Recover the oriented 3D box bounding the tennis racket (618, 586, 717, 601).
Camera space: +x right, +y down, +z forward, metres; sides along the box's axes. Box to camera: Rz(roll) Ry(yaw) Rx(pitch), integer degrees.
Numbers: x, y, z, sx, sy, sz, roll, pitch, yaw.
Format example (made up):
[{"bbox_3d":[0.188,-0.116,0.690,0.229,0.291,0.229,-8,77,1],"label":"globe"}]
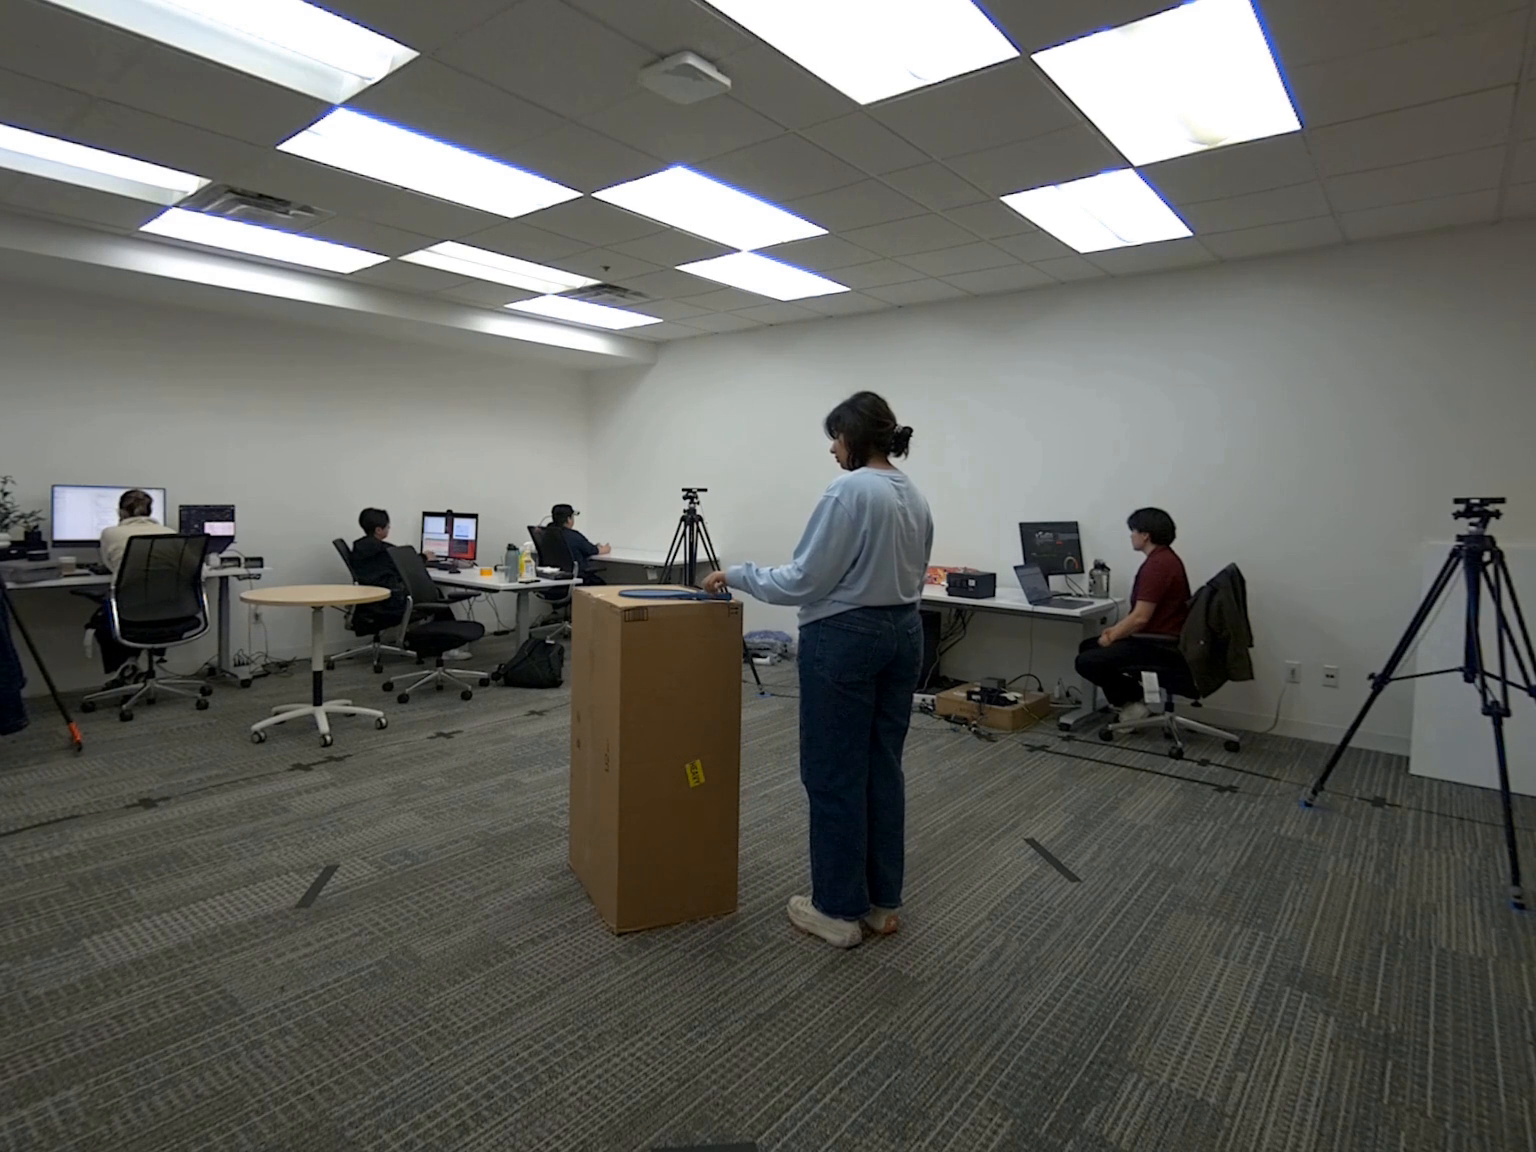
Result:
[{"bbox_3d":[-0.331,0.059,2.861,0.445,0.032,0.208,2,5,28],"label":"tennis racket"}]
